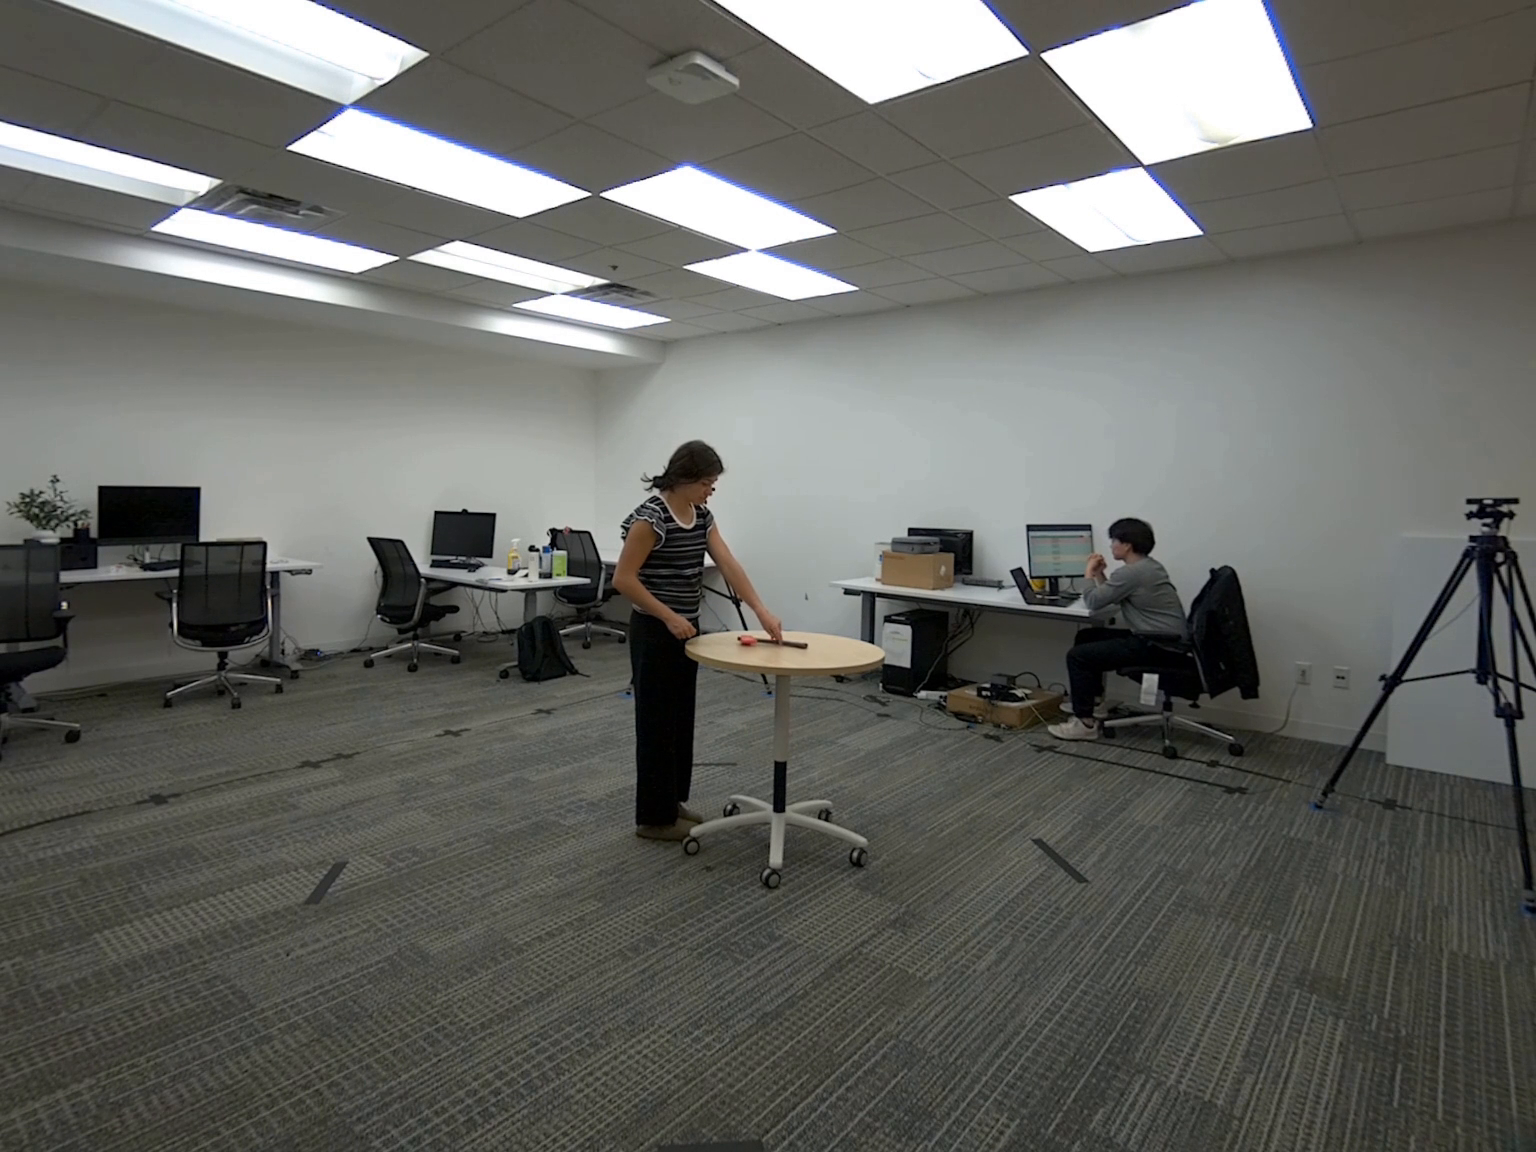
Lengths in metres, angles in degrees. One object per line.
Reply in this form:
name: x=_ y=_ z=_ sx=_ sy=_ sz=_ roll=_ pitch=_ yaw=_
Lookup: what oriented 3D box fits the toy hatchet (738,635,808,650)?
toy hatchet: x=0.000 y=0.257 z=3.291 sx=0.277 sy=0.029 sz=0.128 roll=5 pitch=1 yaw=23
